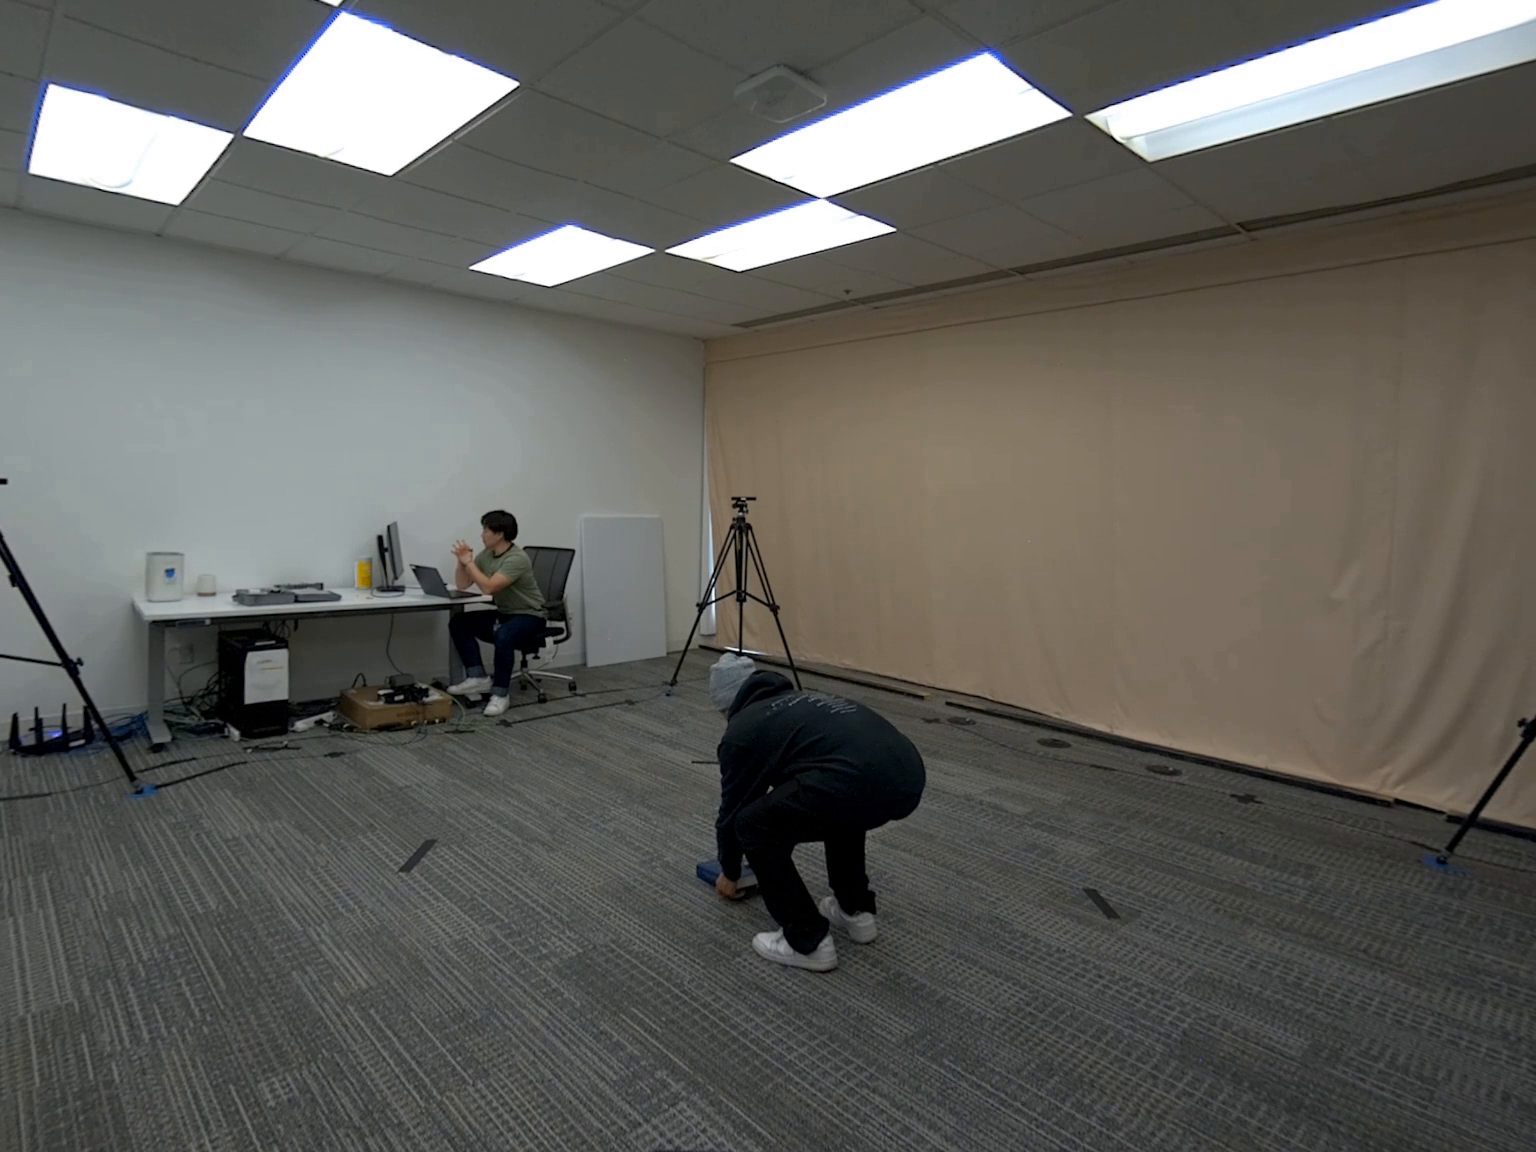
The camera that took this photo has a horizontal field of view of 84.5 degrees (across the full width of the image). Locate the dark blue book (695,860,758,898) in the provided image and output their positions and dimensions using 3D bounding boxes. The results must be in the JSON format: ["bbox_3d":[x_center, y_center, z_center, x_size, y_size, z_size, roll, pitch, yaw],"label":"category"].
[{"bbox_3d":[-0.143,1.079,3.037,0.160,0.045,0.250,-2,-1,-32],"label":"dark blue book"}]
